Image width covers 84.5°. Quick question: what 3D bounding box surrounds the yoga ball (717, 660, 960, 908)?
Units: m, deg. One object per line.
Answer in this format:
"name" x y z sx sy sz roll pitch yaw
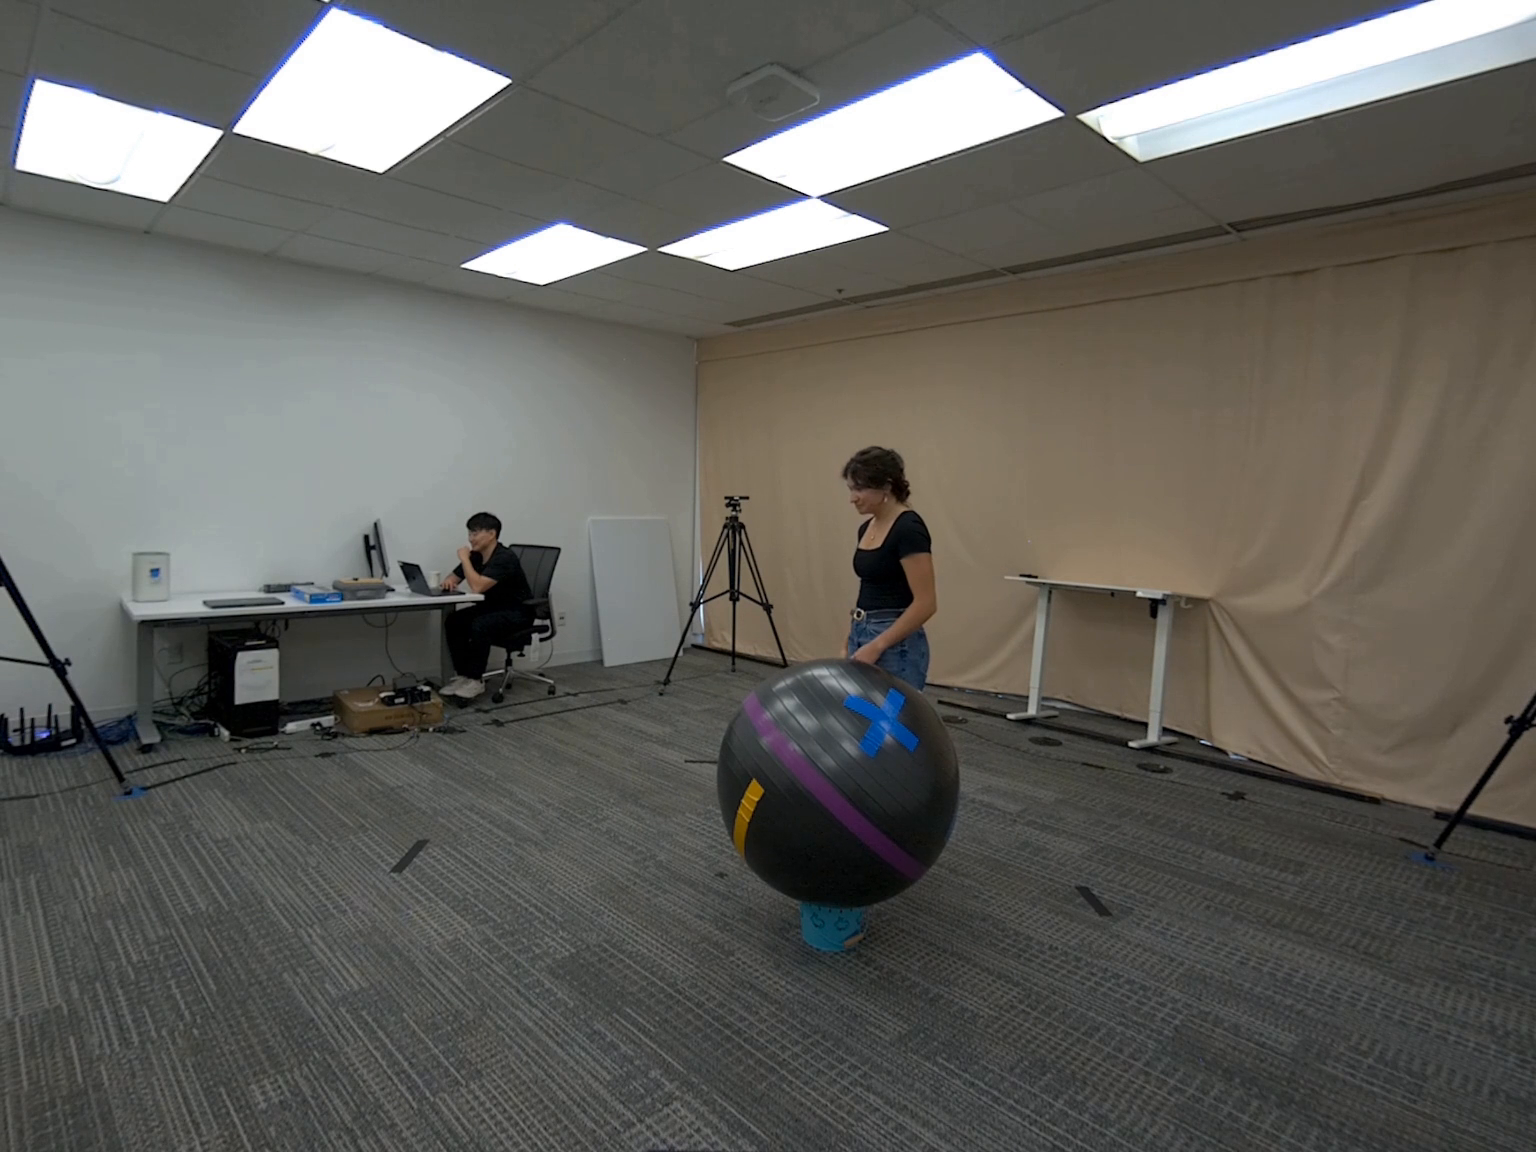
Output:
"yoga ball" 0.223 0.653 2.650 0.757 0.756 0.761 1 4 -1
